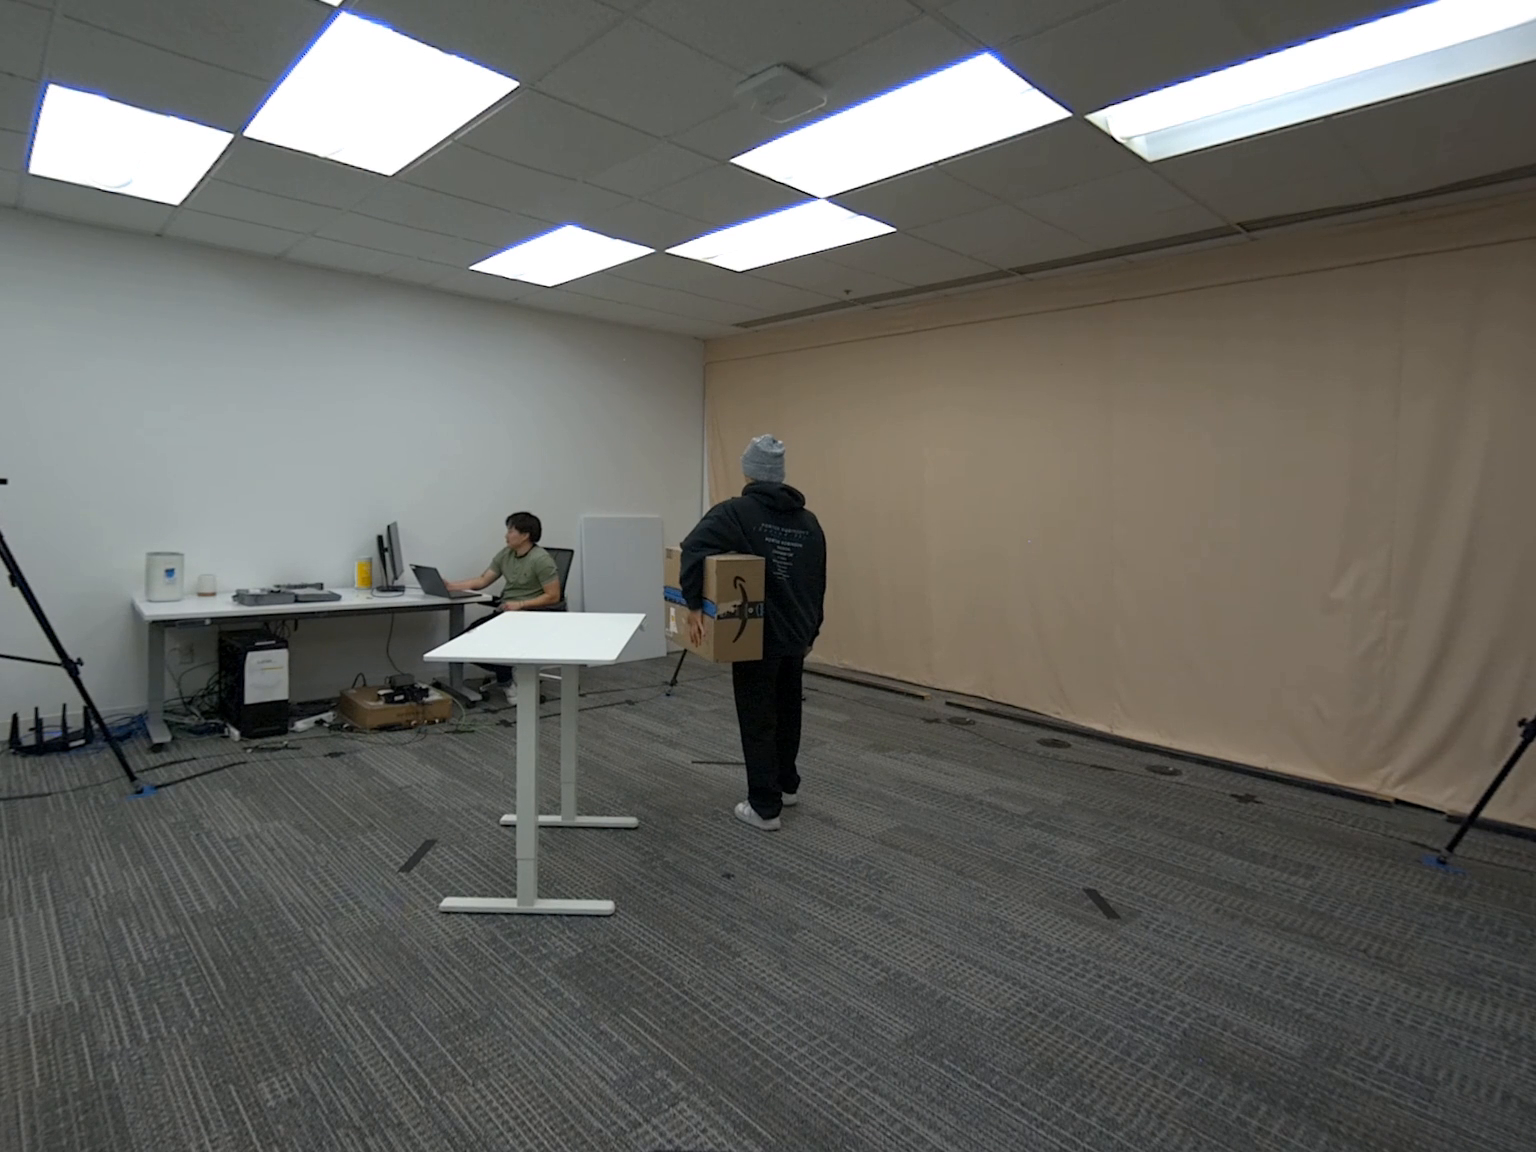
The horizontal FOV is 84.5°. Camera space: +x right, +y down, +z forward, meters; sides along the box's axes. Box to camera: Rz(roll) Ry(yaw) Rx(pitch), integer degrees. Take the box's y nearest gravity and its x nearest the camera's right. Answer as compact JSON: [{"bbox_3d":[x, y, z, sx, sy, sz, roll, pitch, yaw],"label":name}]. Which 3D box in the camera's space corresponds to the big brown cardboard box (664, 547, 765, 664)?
[{"bbox_3d":[-0.250,0.104,3.598,0.229,0.416,0.602,-2,6,-27],"label":"big brown cardboard box"}]
